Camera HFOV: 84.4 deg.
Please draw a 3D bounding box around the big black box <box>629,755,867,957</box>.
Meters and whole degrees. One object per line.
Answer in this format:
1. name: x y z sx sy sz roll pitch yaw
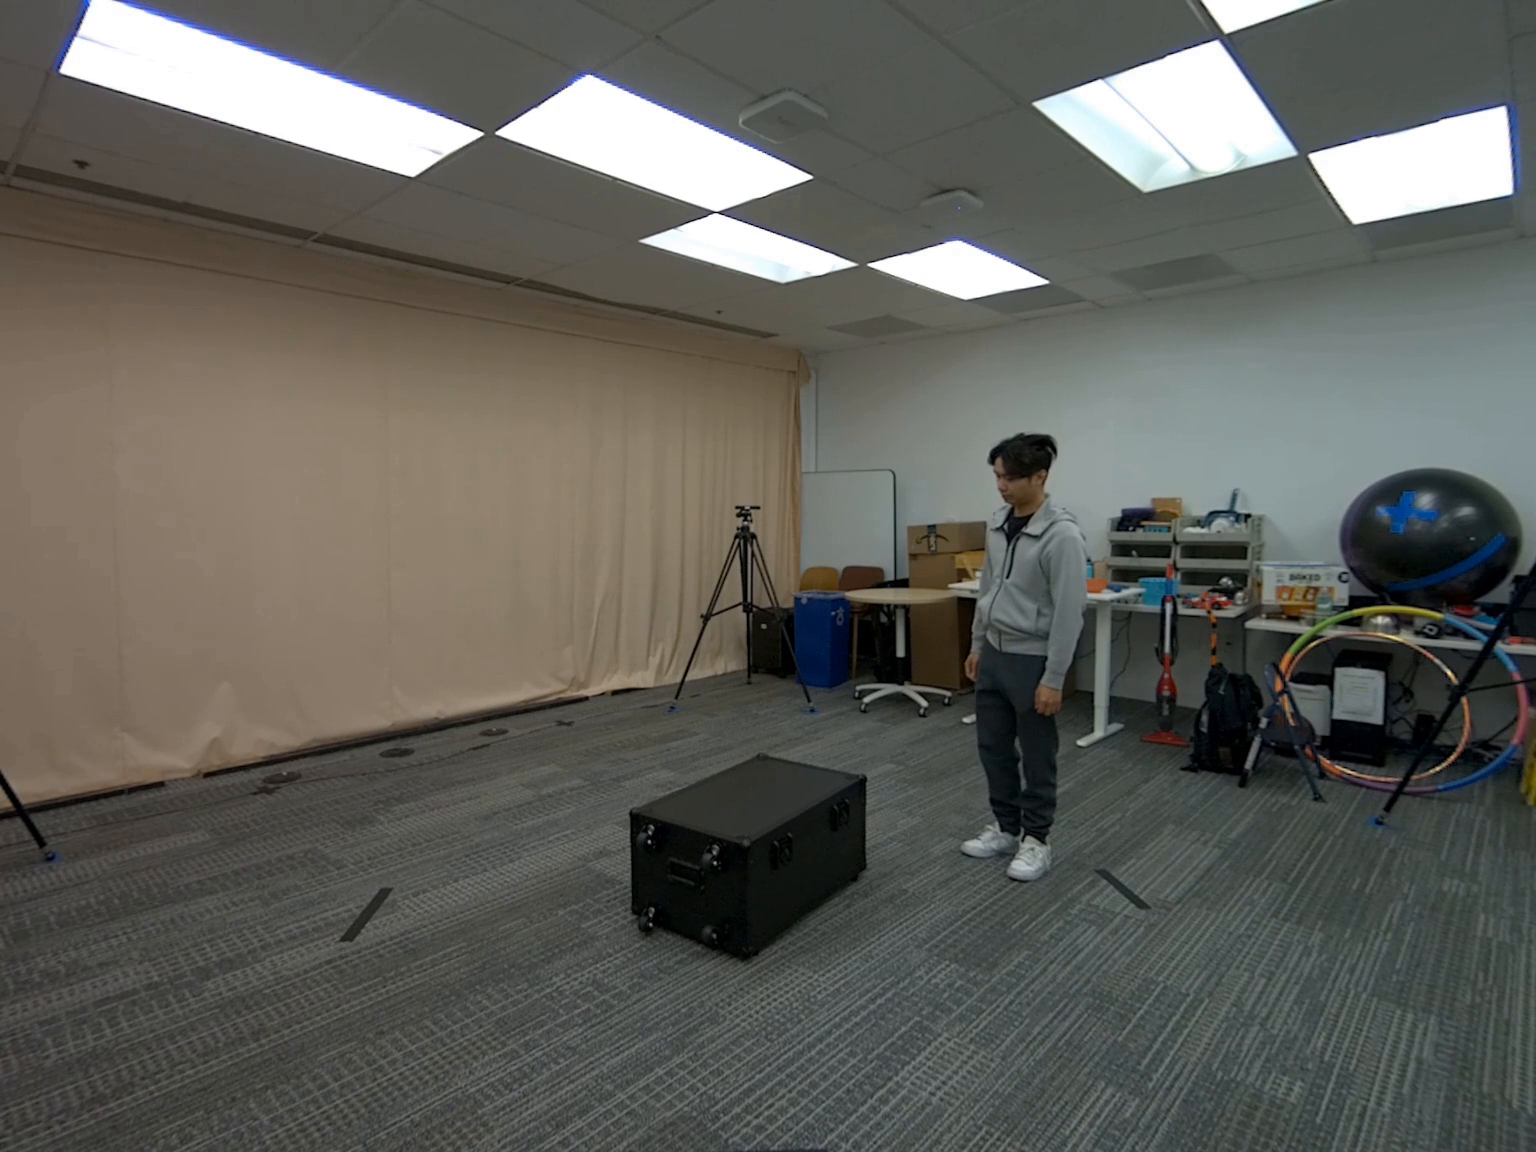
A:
1. big black box: -0.063 0.953 2.971 0.537 0.395 0.837 3 5 34
